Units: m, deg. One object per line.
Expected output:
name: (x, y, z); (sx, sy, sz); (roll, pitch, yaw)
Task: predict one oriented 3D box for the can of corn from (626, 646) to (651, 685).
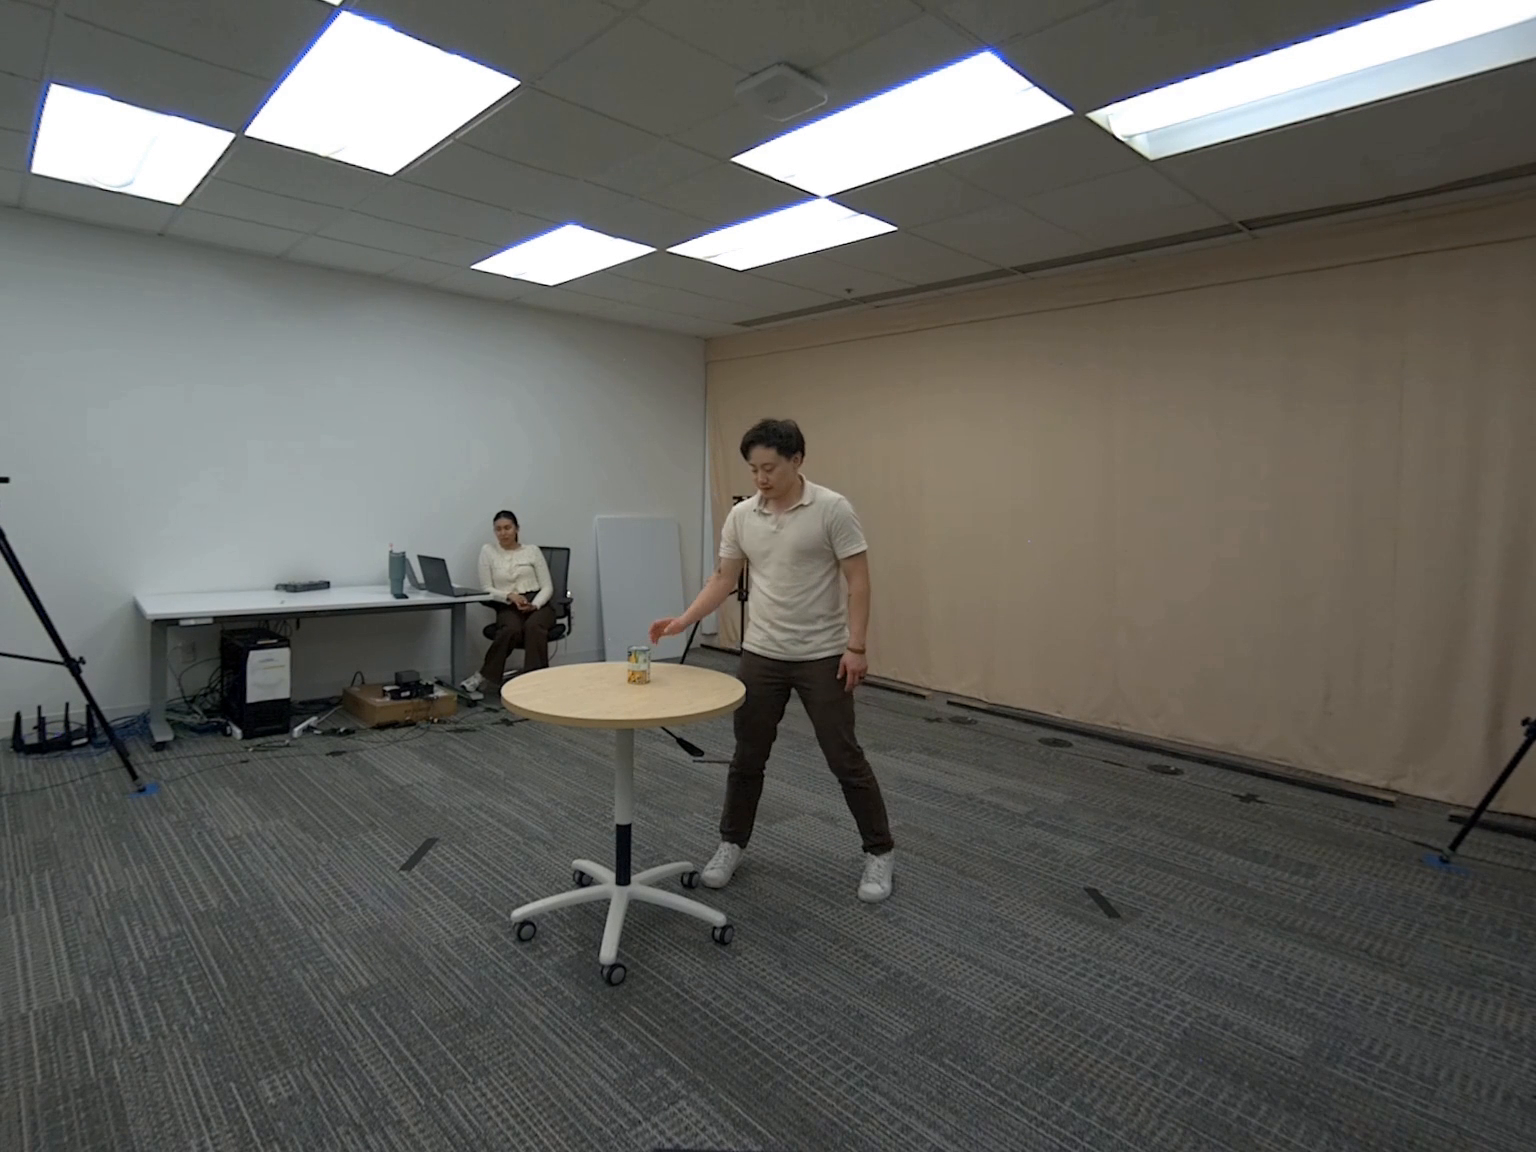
can of corn: (-0.430, 0.291, 2.739); (0.074, 0.111, 0.074); (-2, 4, -1)
